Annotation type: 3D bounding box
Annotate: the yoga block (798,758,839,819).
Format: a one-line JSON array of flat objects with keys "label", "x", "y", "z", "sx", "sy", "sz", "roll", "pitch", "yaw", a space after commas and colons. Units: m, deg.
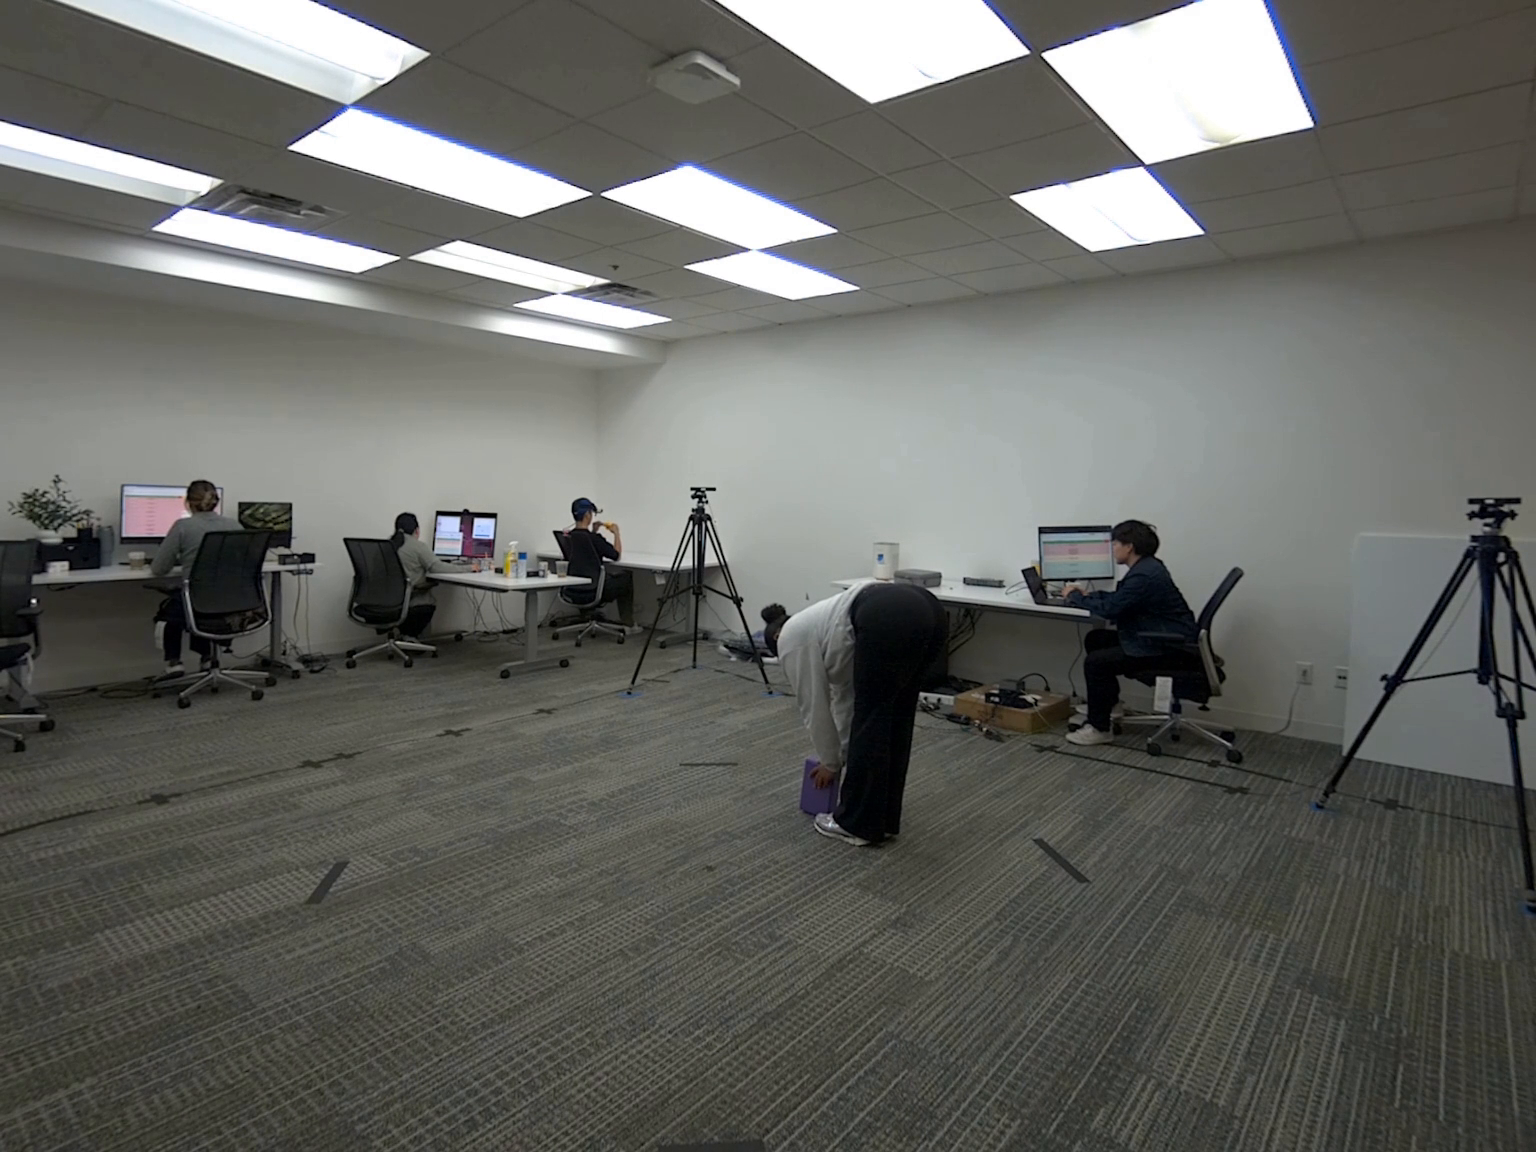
[{"label": "yoga block", "x": 0.214, "y": 0.902, "z": 3.648, "sx": 0.154, "sy": 0.228, "sz": 0.074, "roll": 10, "pitch": 7, "yaw": 34}]
